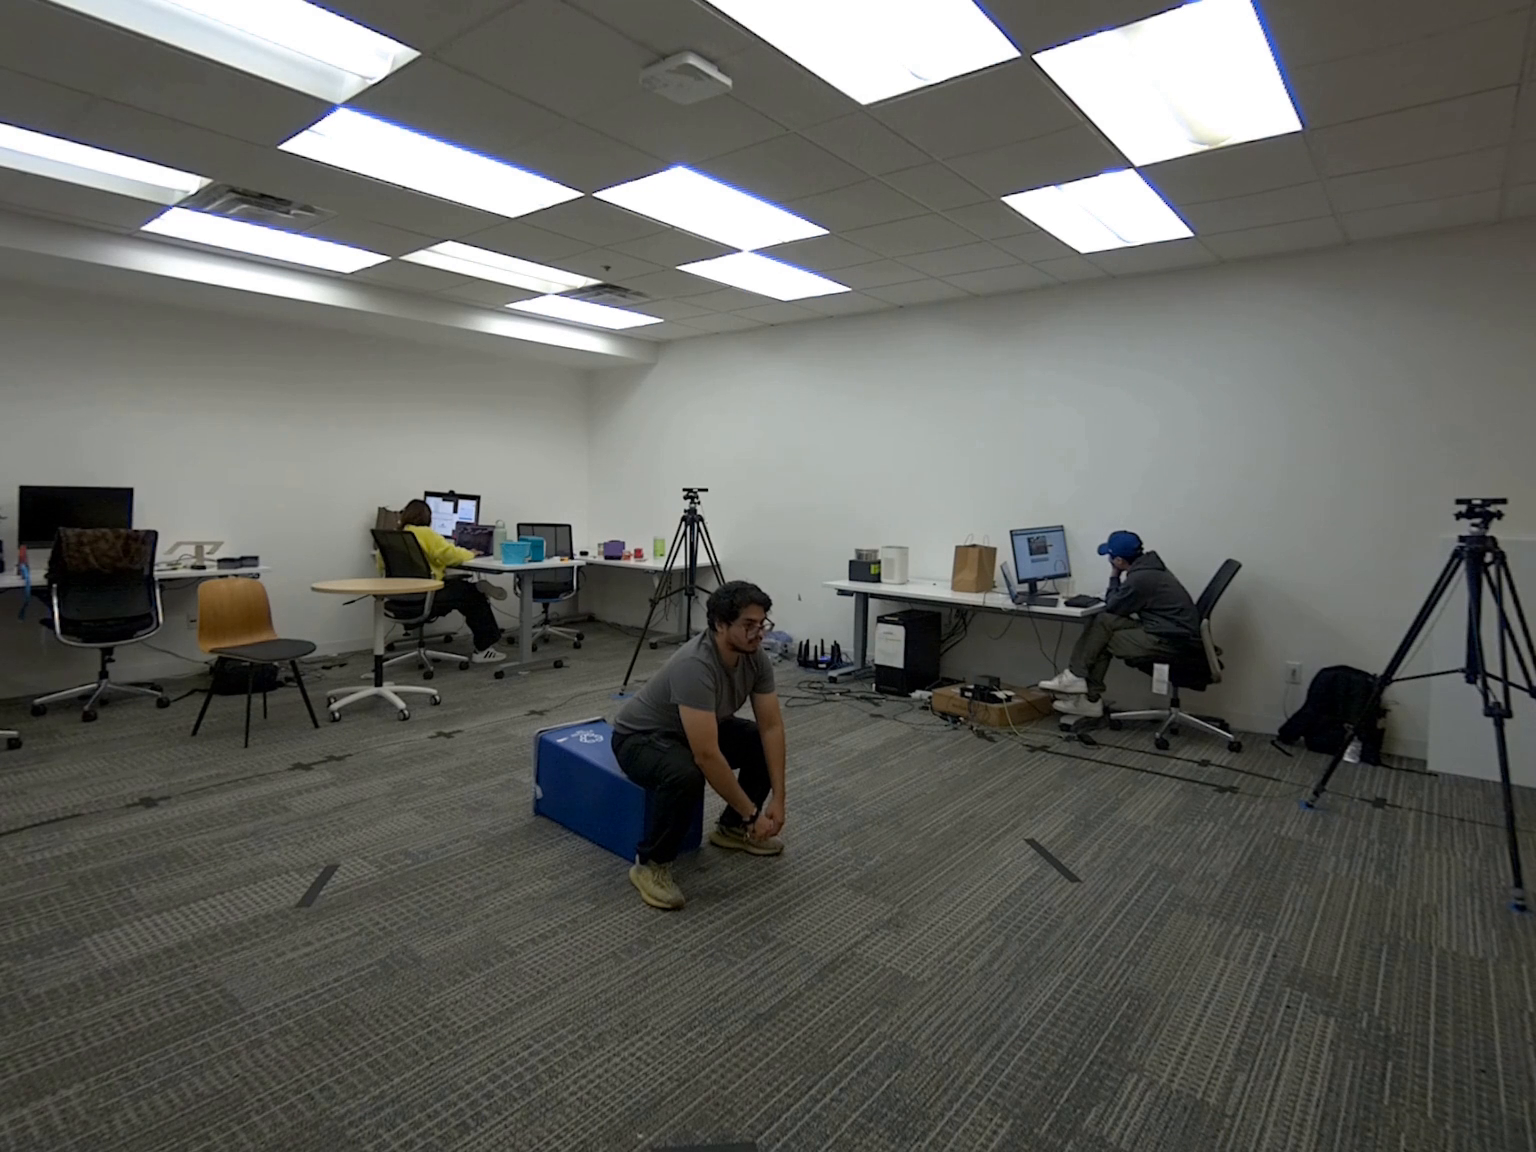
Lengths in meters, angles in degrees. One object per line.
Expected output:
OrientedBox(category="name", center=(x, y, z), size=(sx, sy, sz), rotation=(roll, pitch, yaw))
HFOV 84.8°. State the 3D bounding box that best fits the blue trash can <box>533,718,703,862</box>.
OrientedBox(category="blue trash can", center=(-0.626, 0.855, 3.456), size=(0.739, 0.372, 0.366), rotation=(8, 8, 44))
